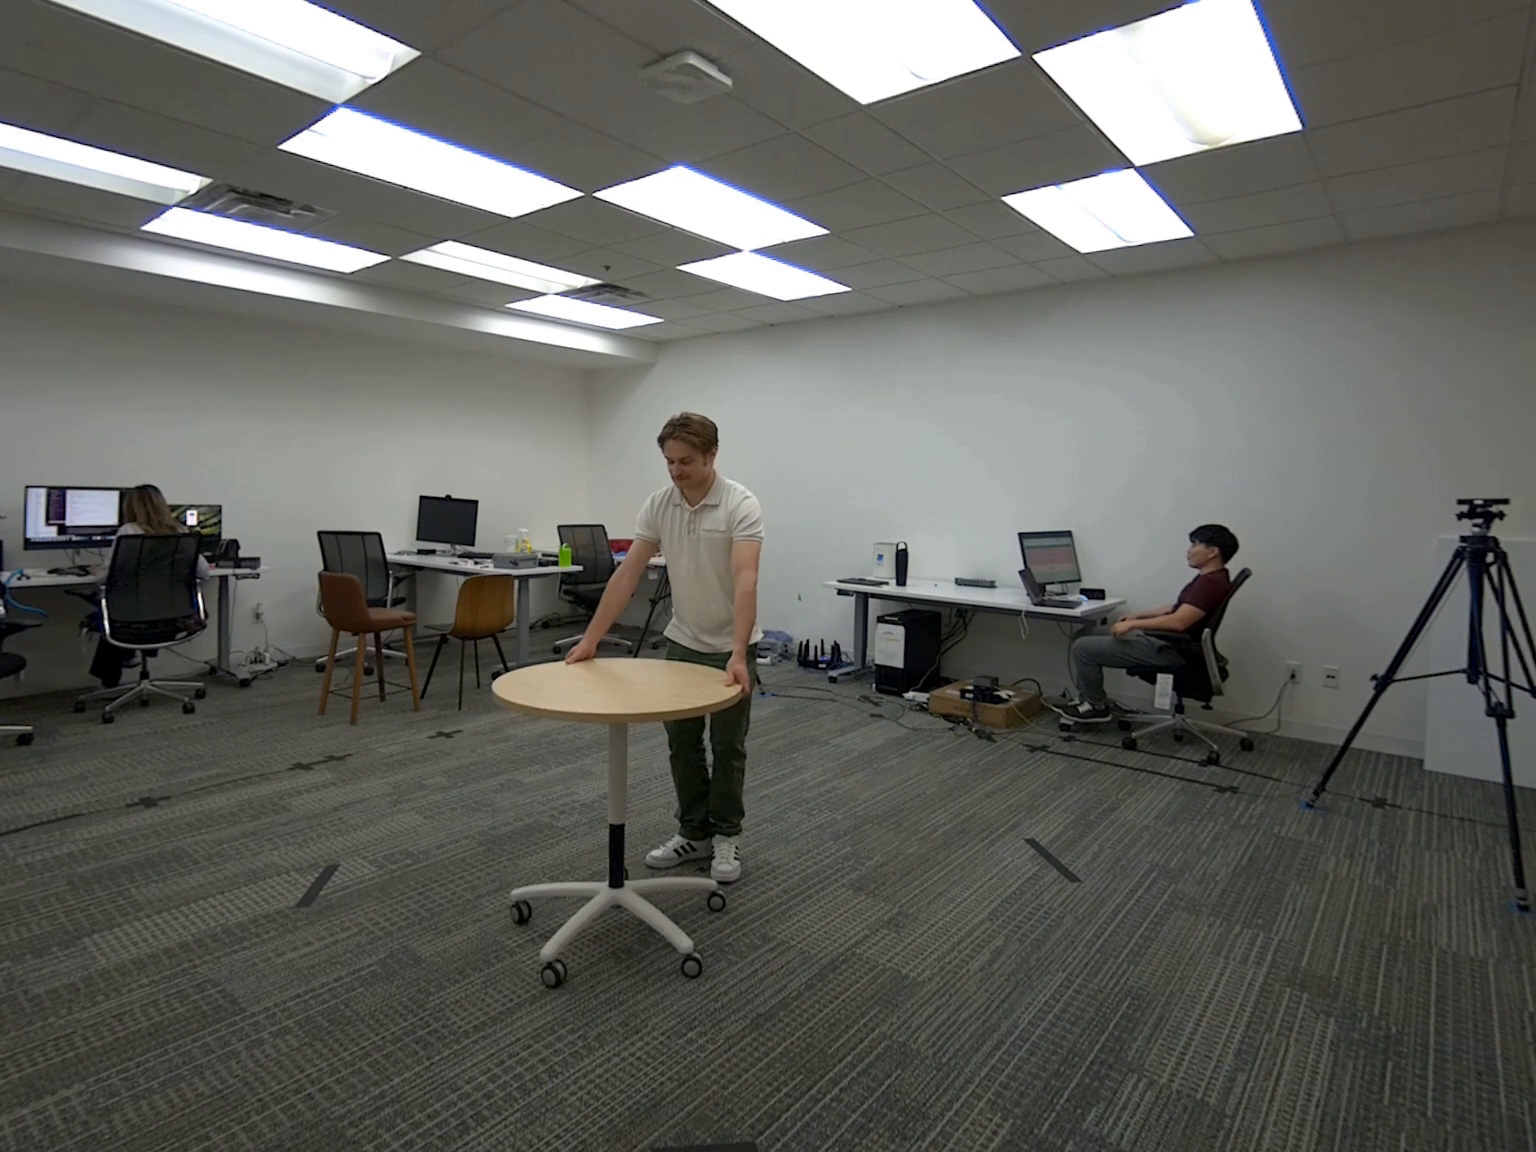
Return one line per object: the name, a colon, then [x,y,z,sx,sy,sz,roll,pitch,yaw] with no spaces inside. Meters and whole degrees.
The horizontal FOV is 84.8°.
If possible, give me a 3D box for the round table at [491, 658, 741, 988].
round table: [-0.481,0.718,2.659,0.763,0.791,0.768,1,4,-2]
